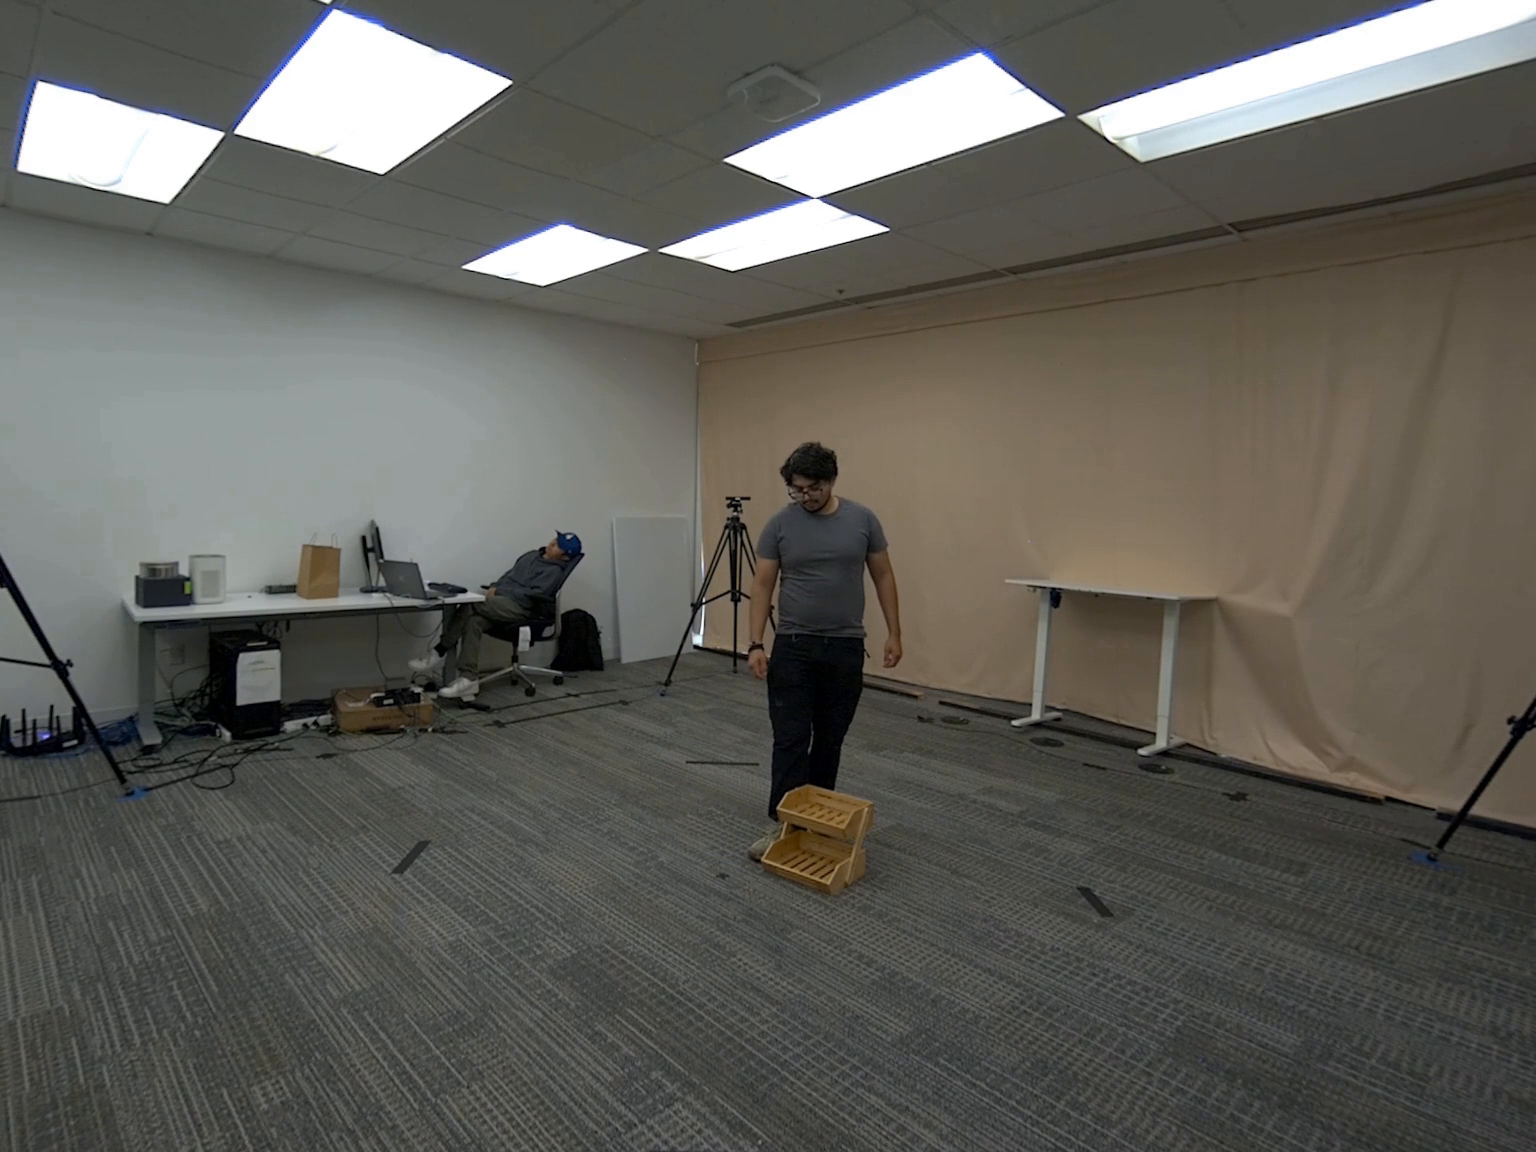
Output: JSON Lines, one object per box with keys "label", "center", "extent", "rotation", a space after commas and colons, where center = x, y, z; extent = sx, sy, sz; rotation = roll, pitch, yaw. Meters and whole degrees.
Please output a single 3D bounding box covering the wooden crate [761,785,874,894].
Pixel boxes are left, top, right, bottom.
{"label": "wooden crate", "center": [0.177, 0.976, 3.150], "extent": [0.332, 0.273, 0.295], "rotation": [4, 4, 38]}
